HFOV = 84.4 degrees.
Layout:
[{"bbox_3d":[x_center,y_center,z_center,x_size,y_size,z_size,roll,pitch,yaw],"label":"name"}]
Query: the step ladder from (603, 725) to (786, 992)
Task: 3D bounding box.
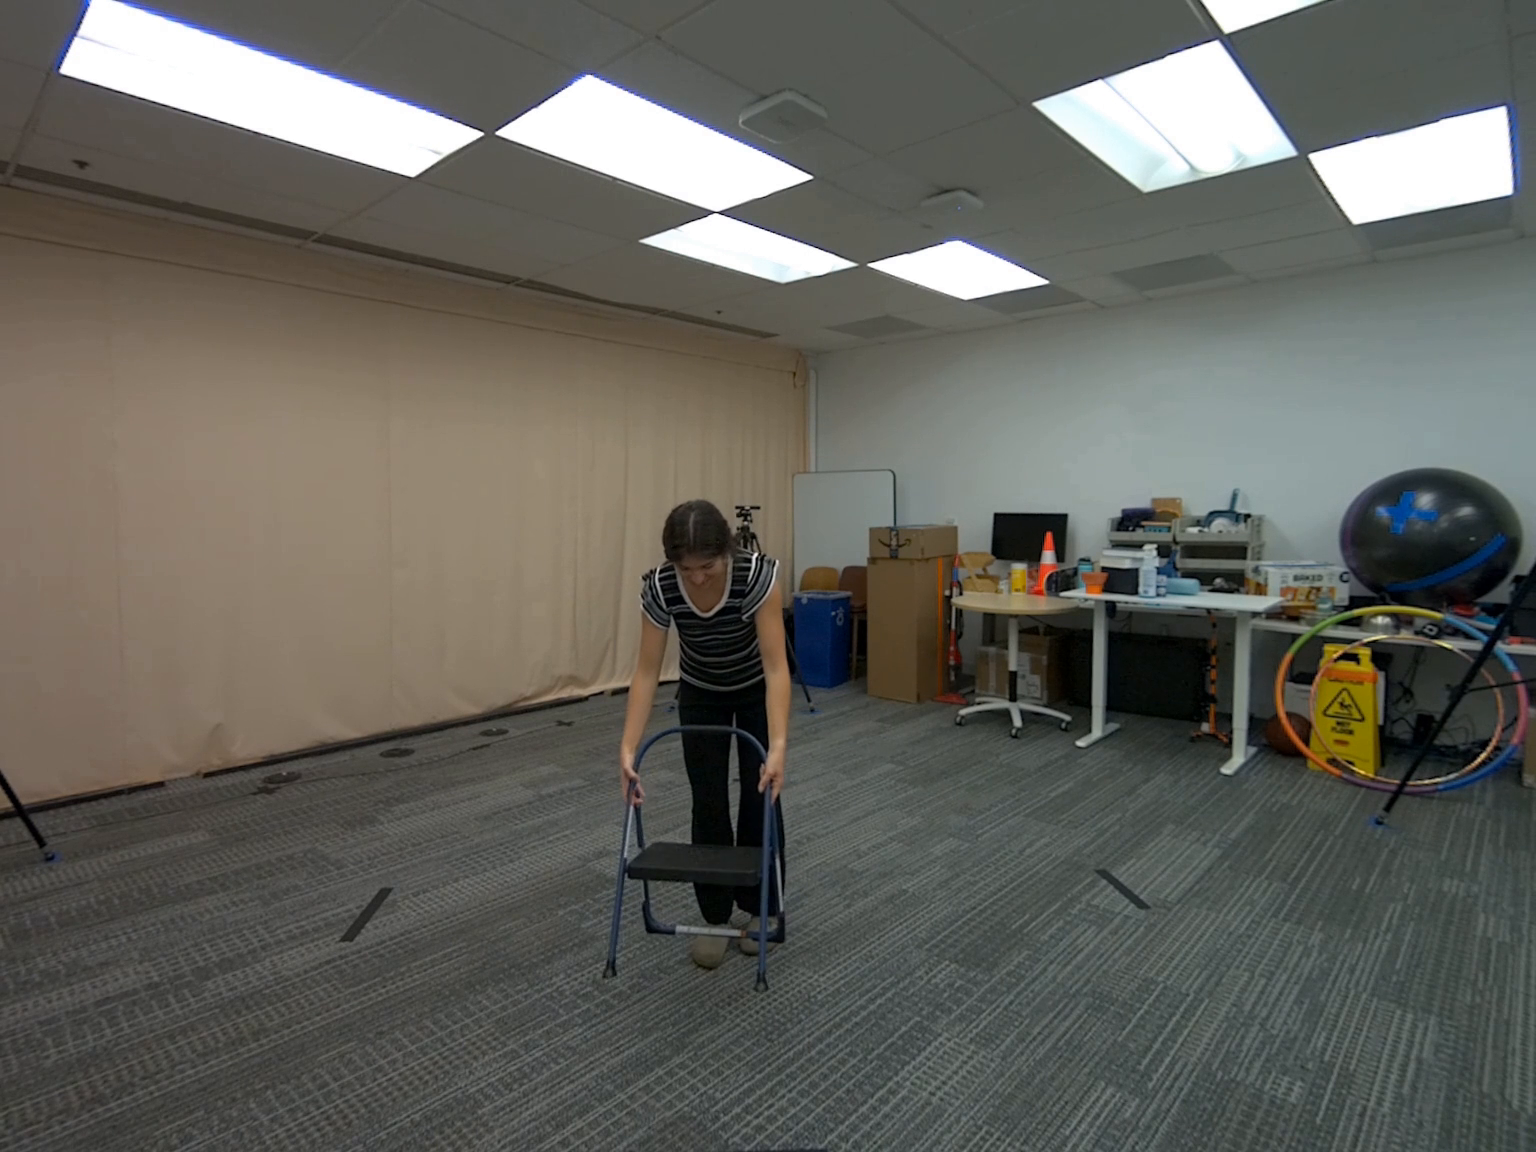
[{"bbox_3d":[-0.187,0.726,2.286,0.437,0.608,0.343,-2,-5,13],"label":"step ladder"}]
